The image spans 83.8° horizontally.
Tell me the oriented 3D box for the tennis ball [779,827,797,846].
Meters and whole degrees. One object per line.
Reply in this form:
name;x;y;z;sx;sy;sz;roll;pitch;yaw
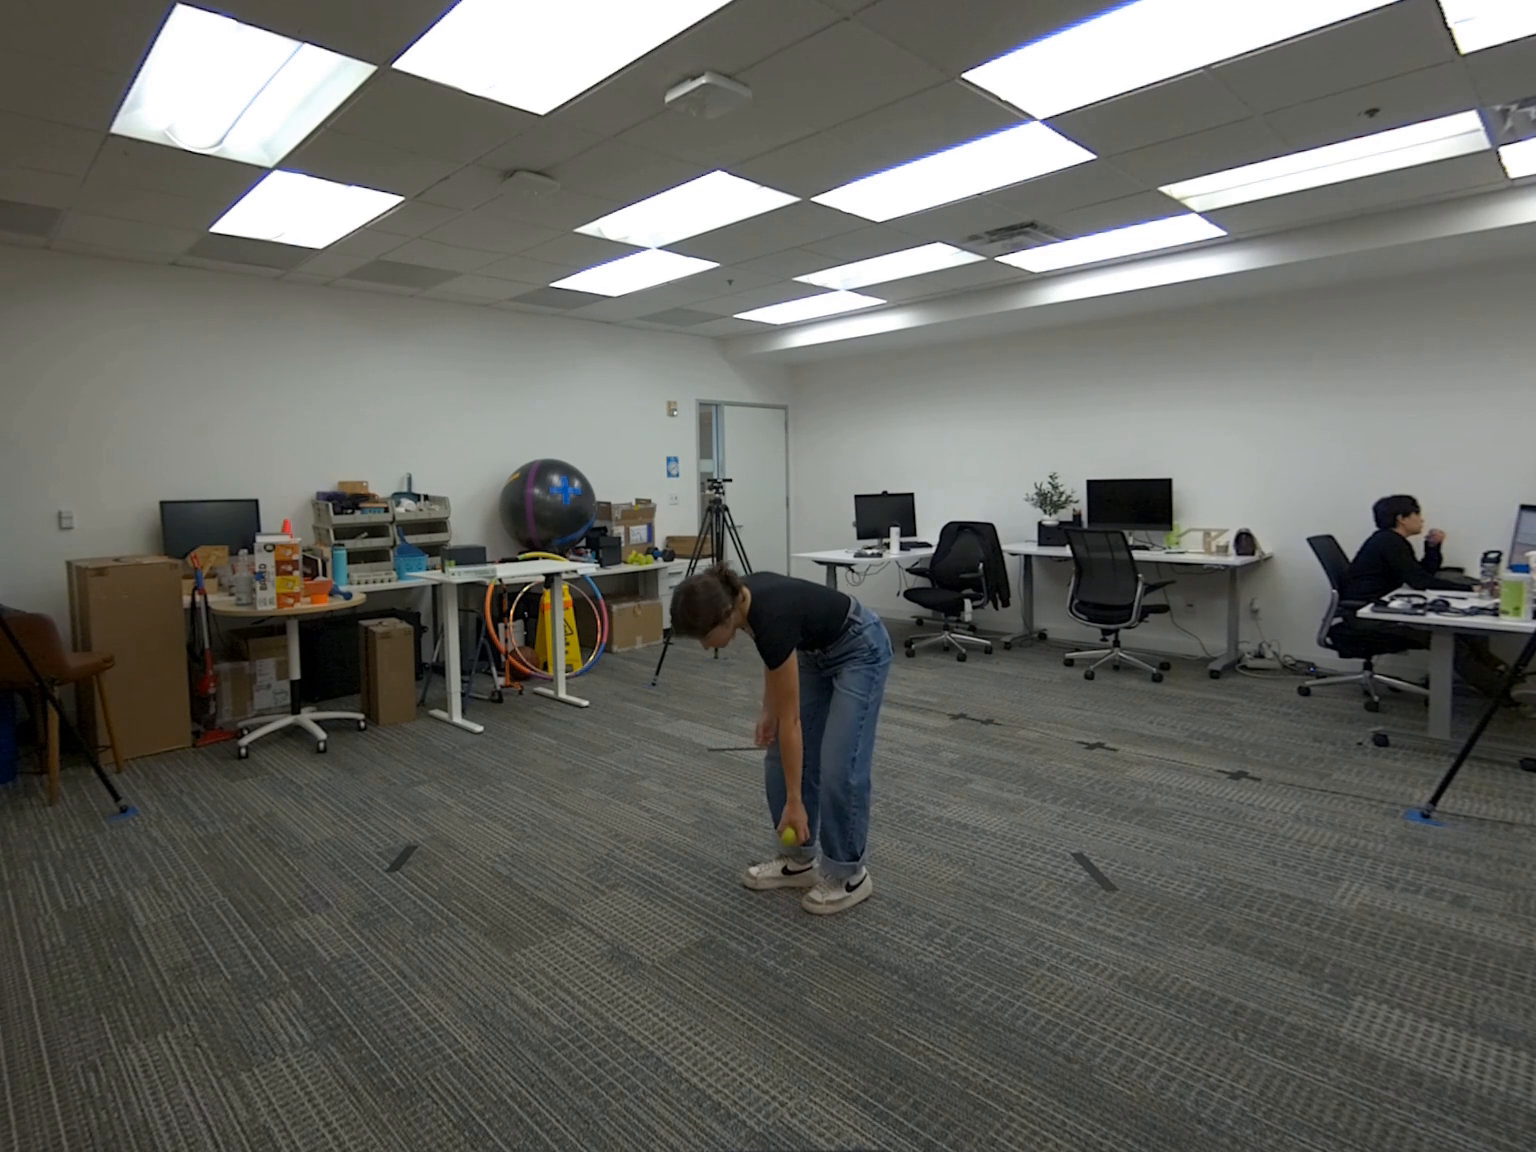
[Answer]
tennis ball;0.081;0.819;2.639;0.066;0.066;0.067;-1;5;-2
